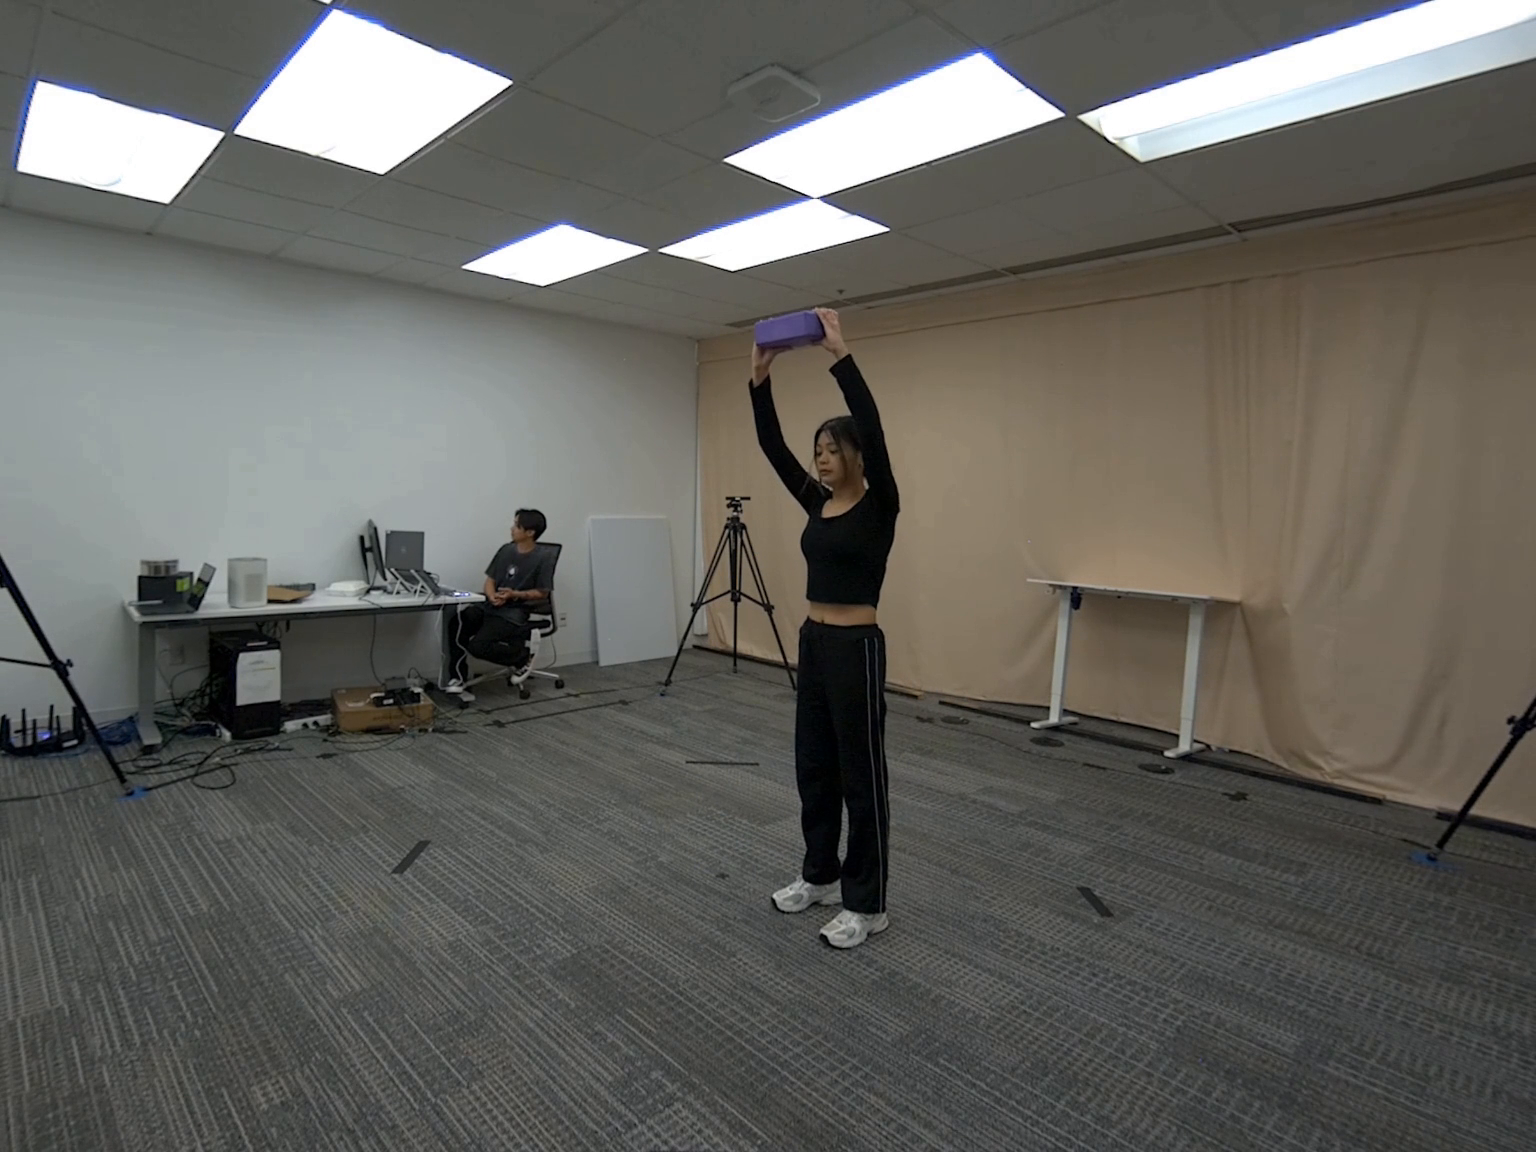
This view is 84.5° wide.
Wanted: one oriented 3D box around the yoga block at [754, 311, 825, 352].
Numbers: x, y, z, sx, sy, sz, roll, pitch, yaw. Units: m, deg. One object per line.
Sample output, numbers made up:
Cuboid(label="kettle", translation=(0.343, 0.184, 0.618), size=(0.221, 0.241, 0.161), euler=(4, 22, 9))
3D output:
Cuboid(label="yoga block", translation=(0.073, -0.734, 2.546), size=(0.146, 0.076, 0.235), euler=(-10, 11, -40))
